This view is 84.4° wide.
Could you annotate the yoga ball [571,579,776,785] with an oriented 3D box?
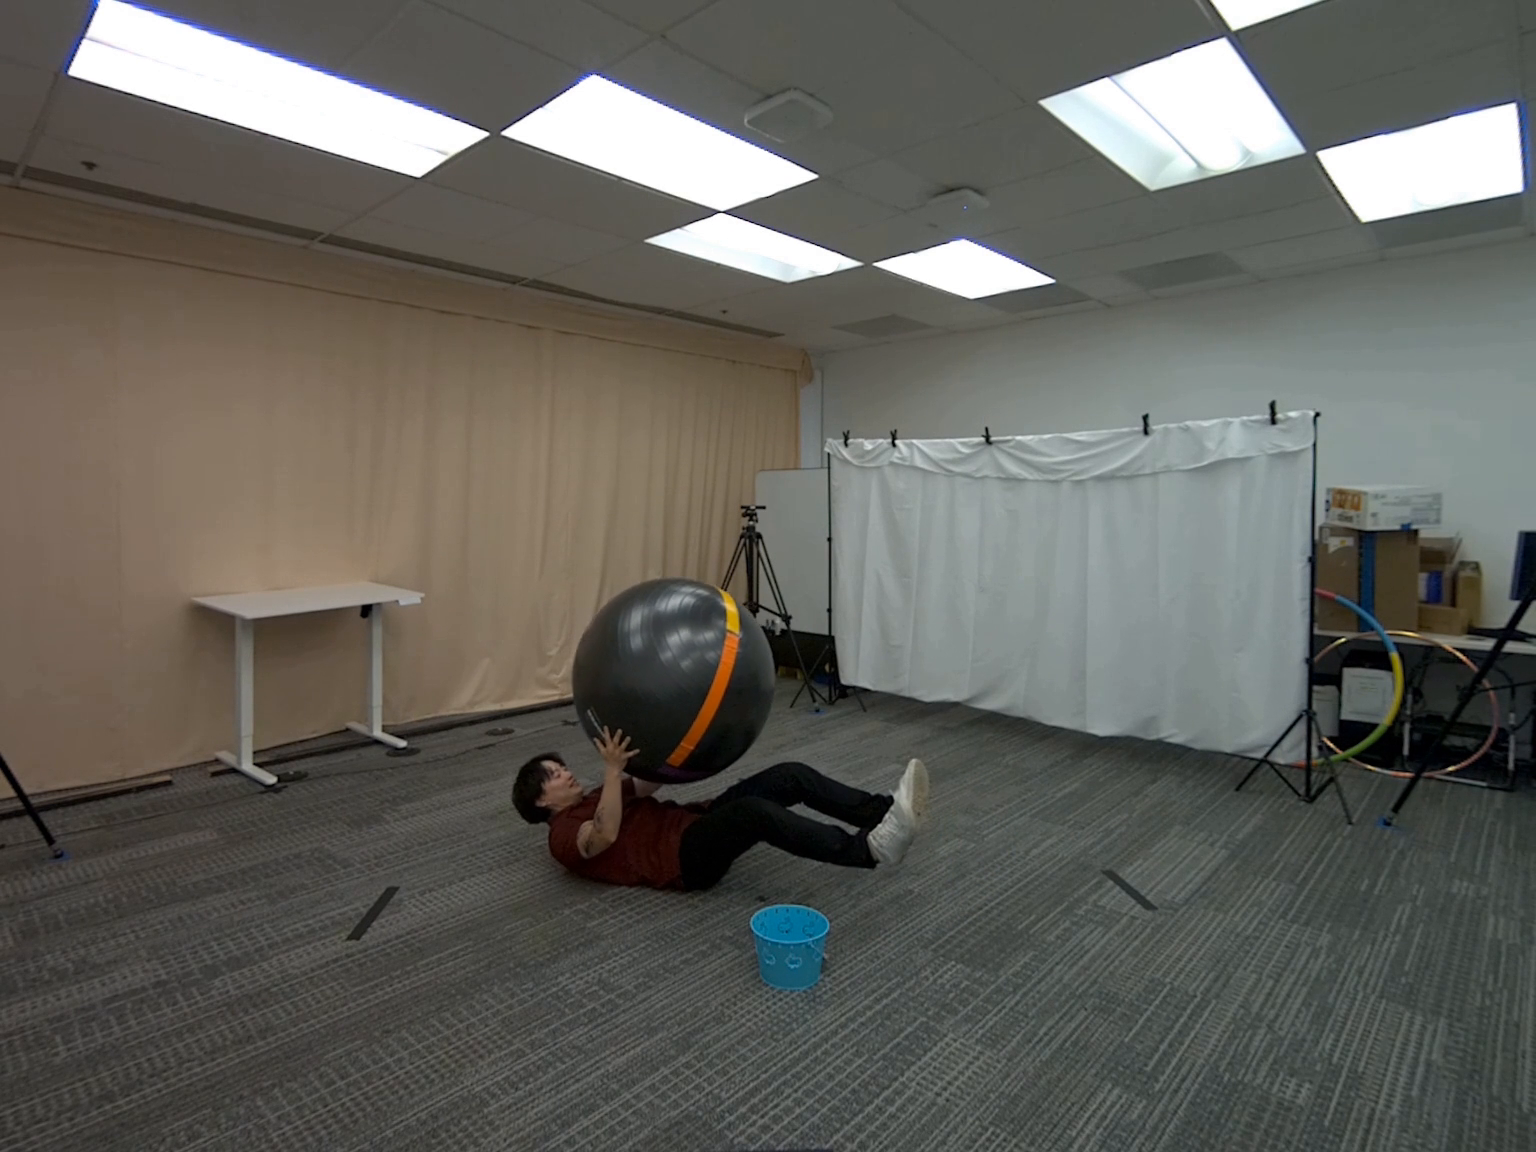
[{"bbox_3d":[-0.338,0.388,3.156,0.757,0.756,0.760,0,4,-2],"label":"yoga ball"}]
